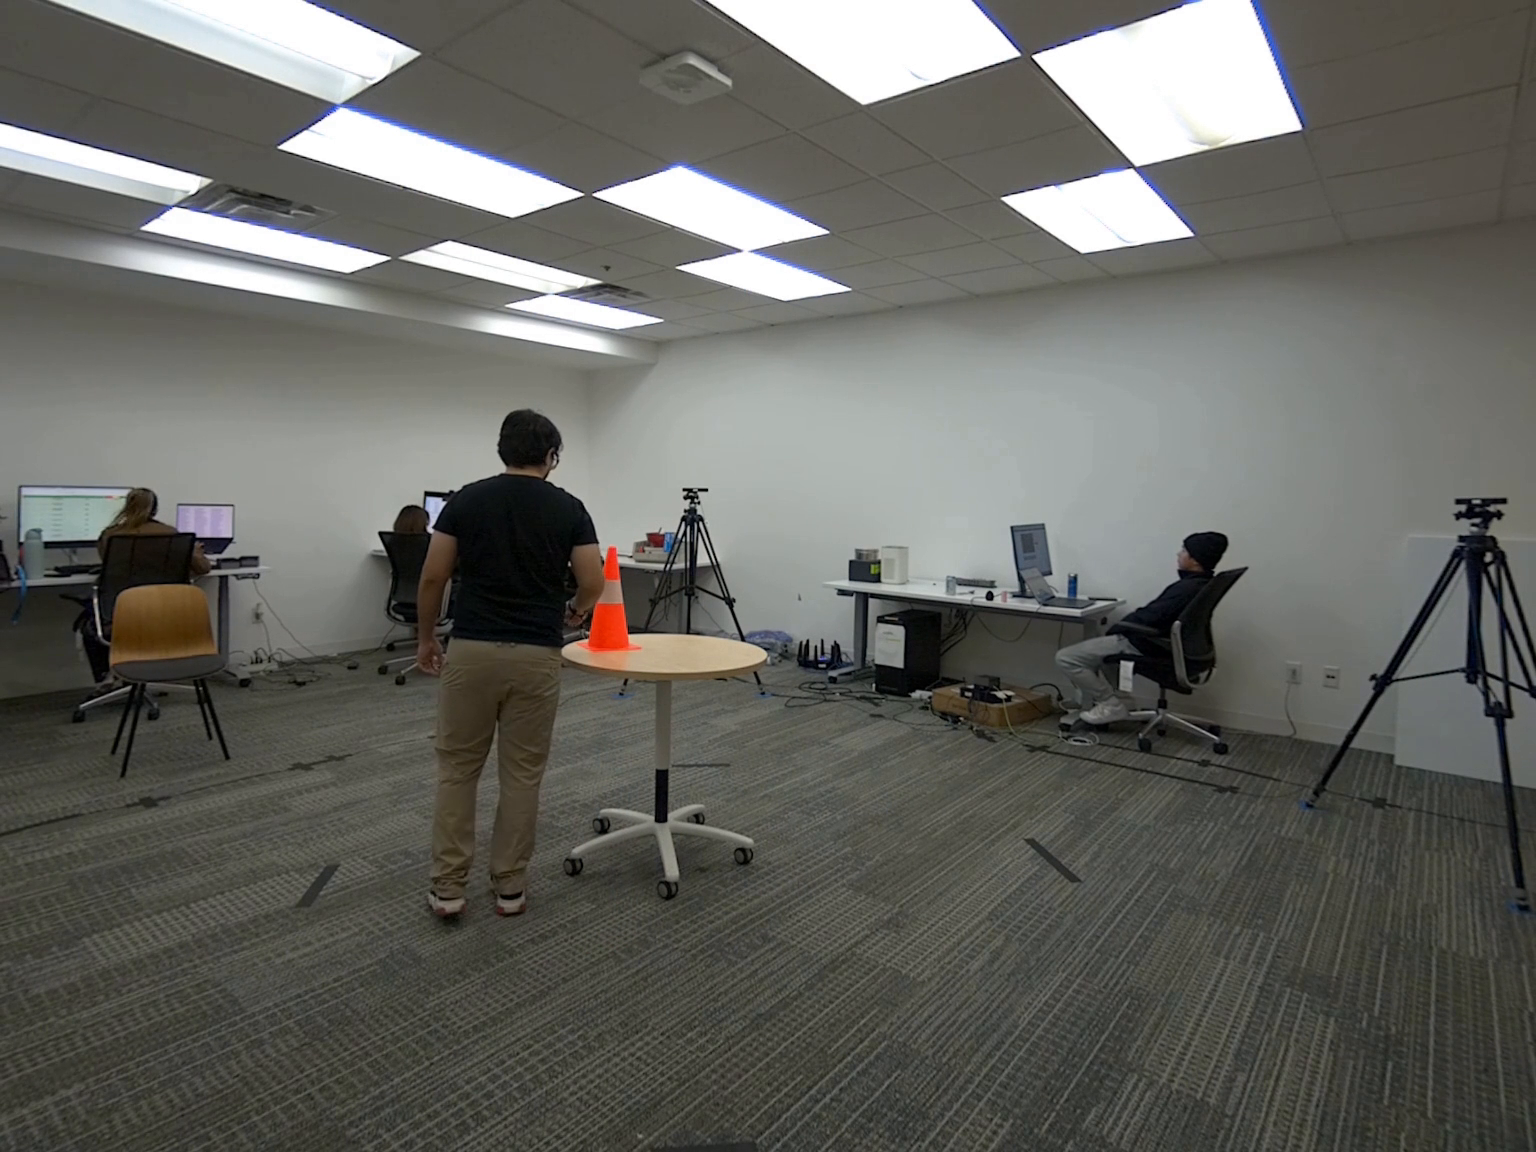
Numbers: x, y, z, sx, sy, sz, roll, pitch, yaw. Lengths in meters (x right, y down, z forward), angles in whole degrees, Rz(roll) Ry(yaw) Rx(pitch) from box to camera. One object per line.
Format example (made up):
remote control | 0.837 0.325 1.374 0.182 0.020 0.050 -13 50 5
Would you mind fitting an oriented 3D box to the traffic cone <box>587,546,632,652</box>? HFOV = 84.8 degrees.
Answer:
traffic cone | -0.612 0.078 3.227 0.197 0.382 0.212 0 5 -38
